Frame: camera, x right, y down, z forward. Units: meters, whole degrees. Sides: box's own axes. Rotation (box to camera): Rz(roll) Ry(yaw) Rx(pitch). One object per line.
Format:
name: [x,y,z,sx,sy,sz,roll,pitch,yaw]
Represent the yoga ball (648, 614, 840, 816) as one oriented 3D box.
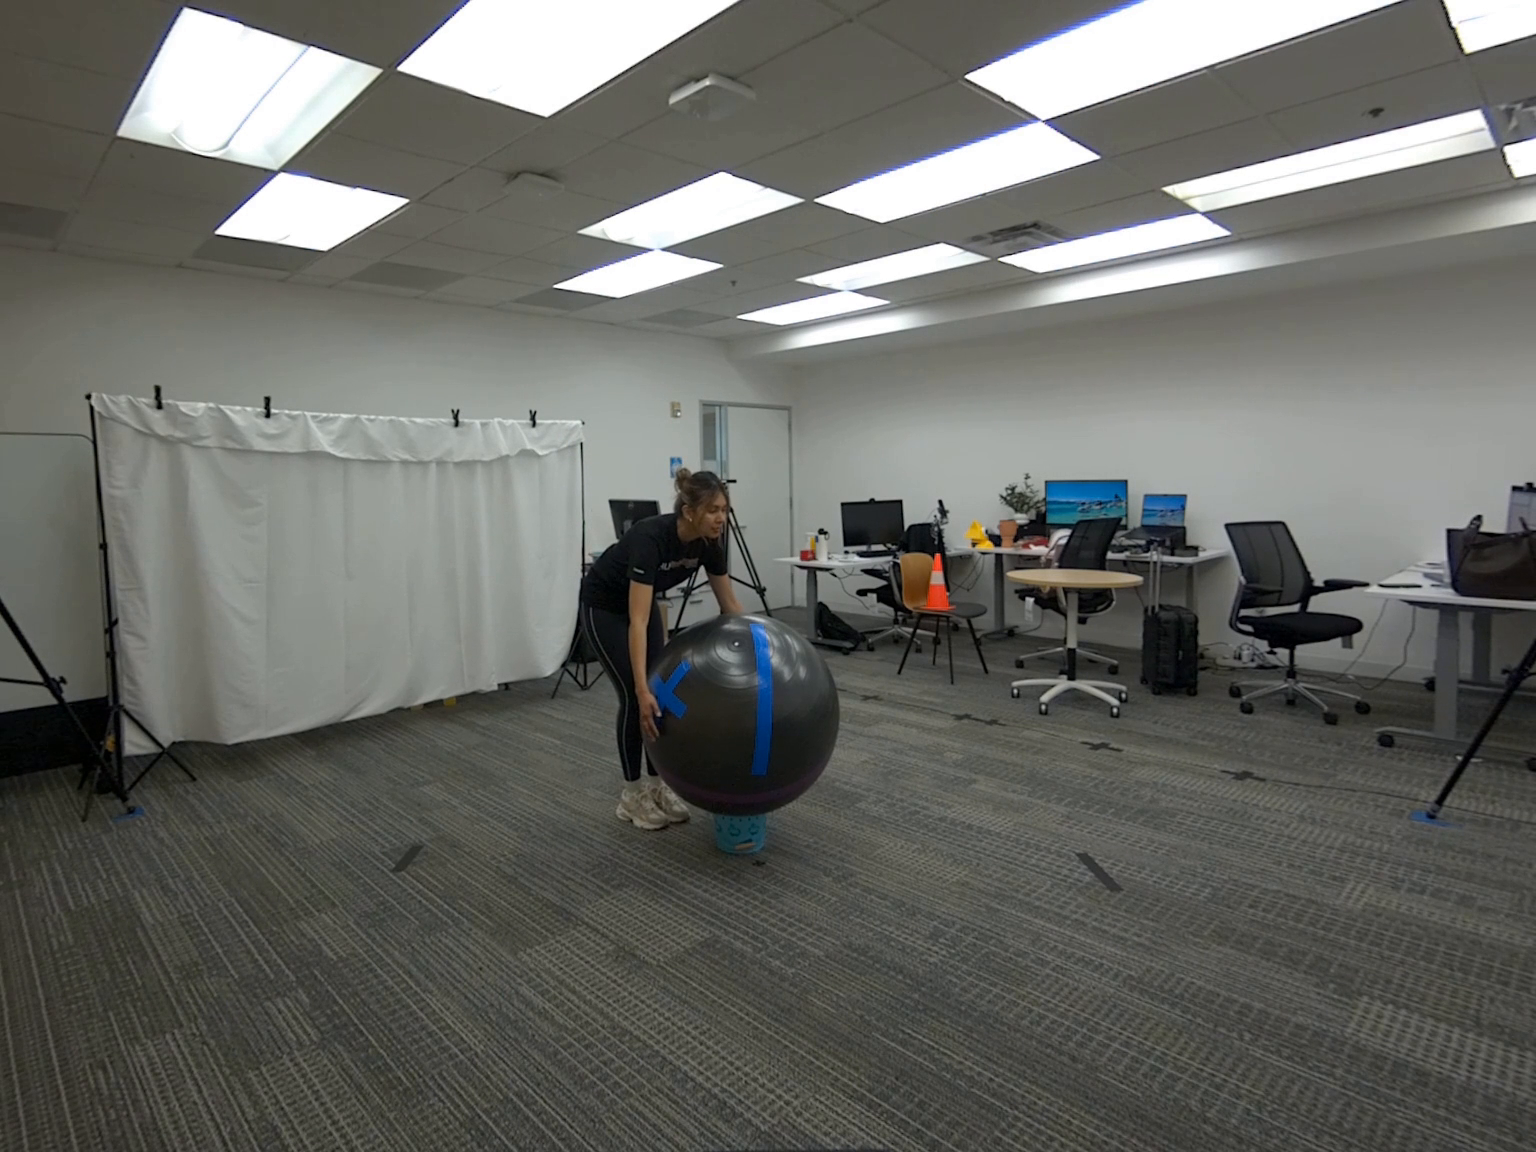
yoga ball: [-0.112,0.521,3.250,0.757,0.755,0.762,-1,5,-2]
